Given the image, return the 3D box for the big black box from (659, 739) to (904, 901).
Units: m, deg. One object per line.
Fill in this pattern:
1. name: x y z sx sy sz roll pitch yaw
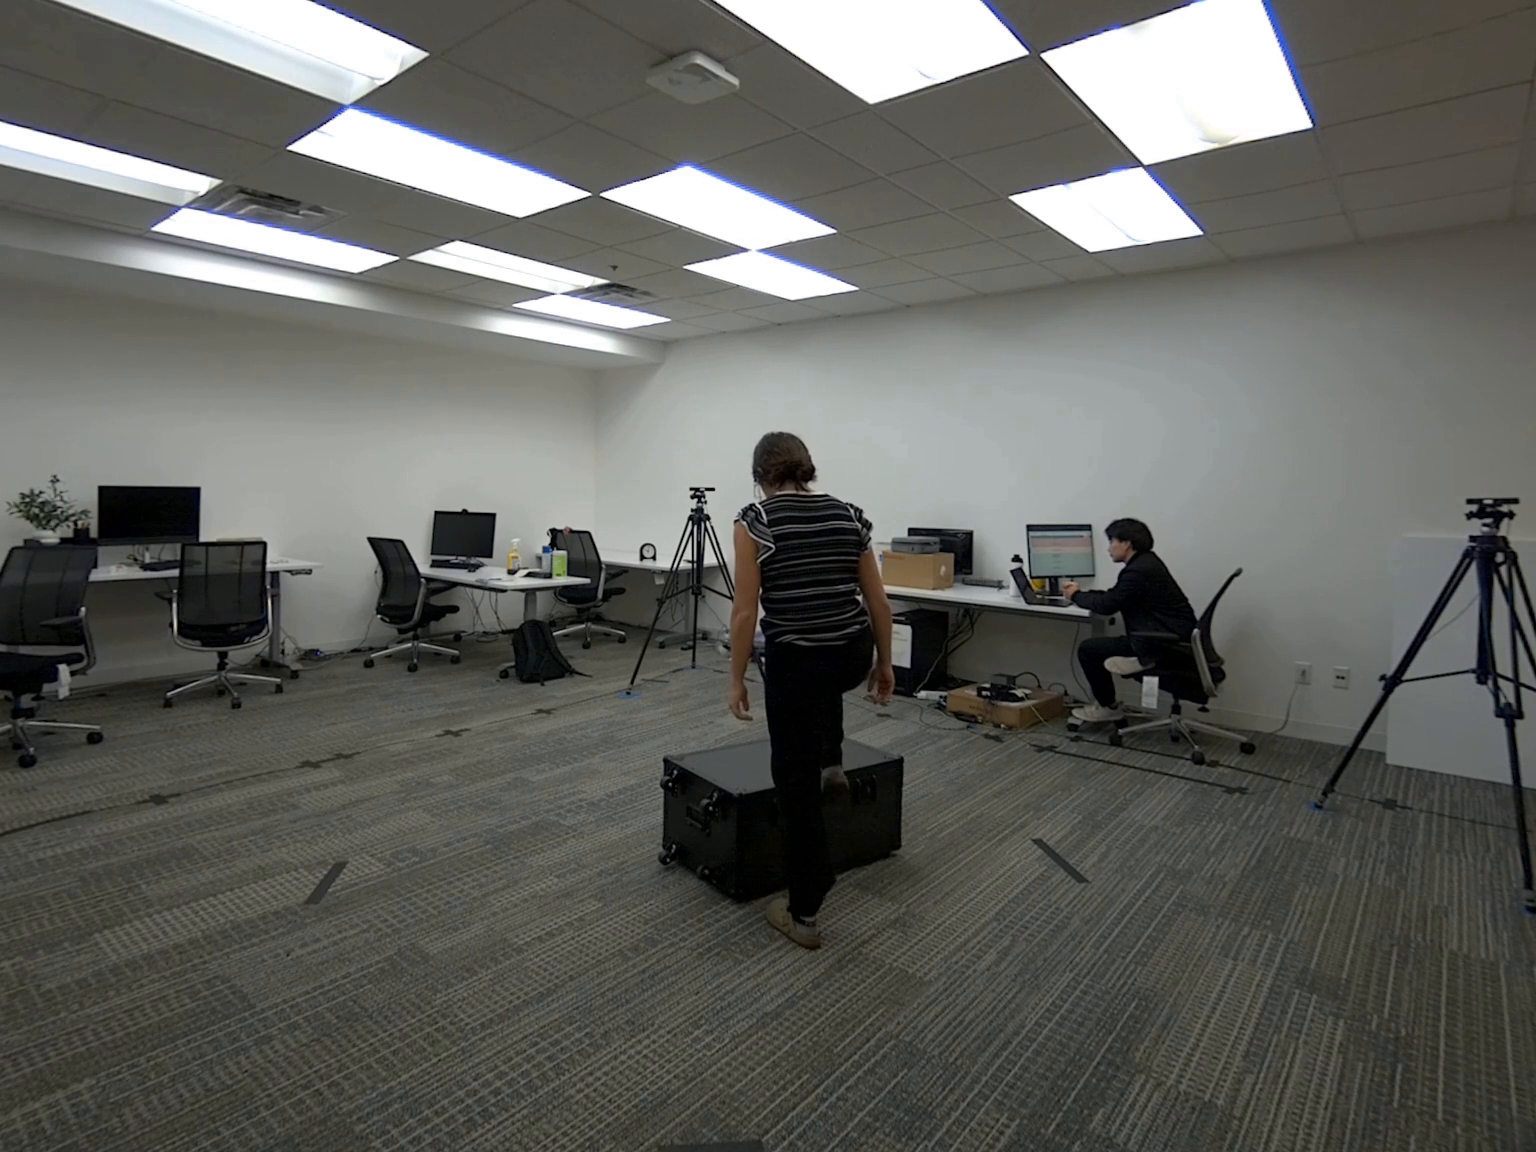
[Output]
1. big black box: 0.023 0.870 3.214 0.836 0.395 0.538 -2 6 -35
